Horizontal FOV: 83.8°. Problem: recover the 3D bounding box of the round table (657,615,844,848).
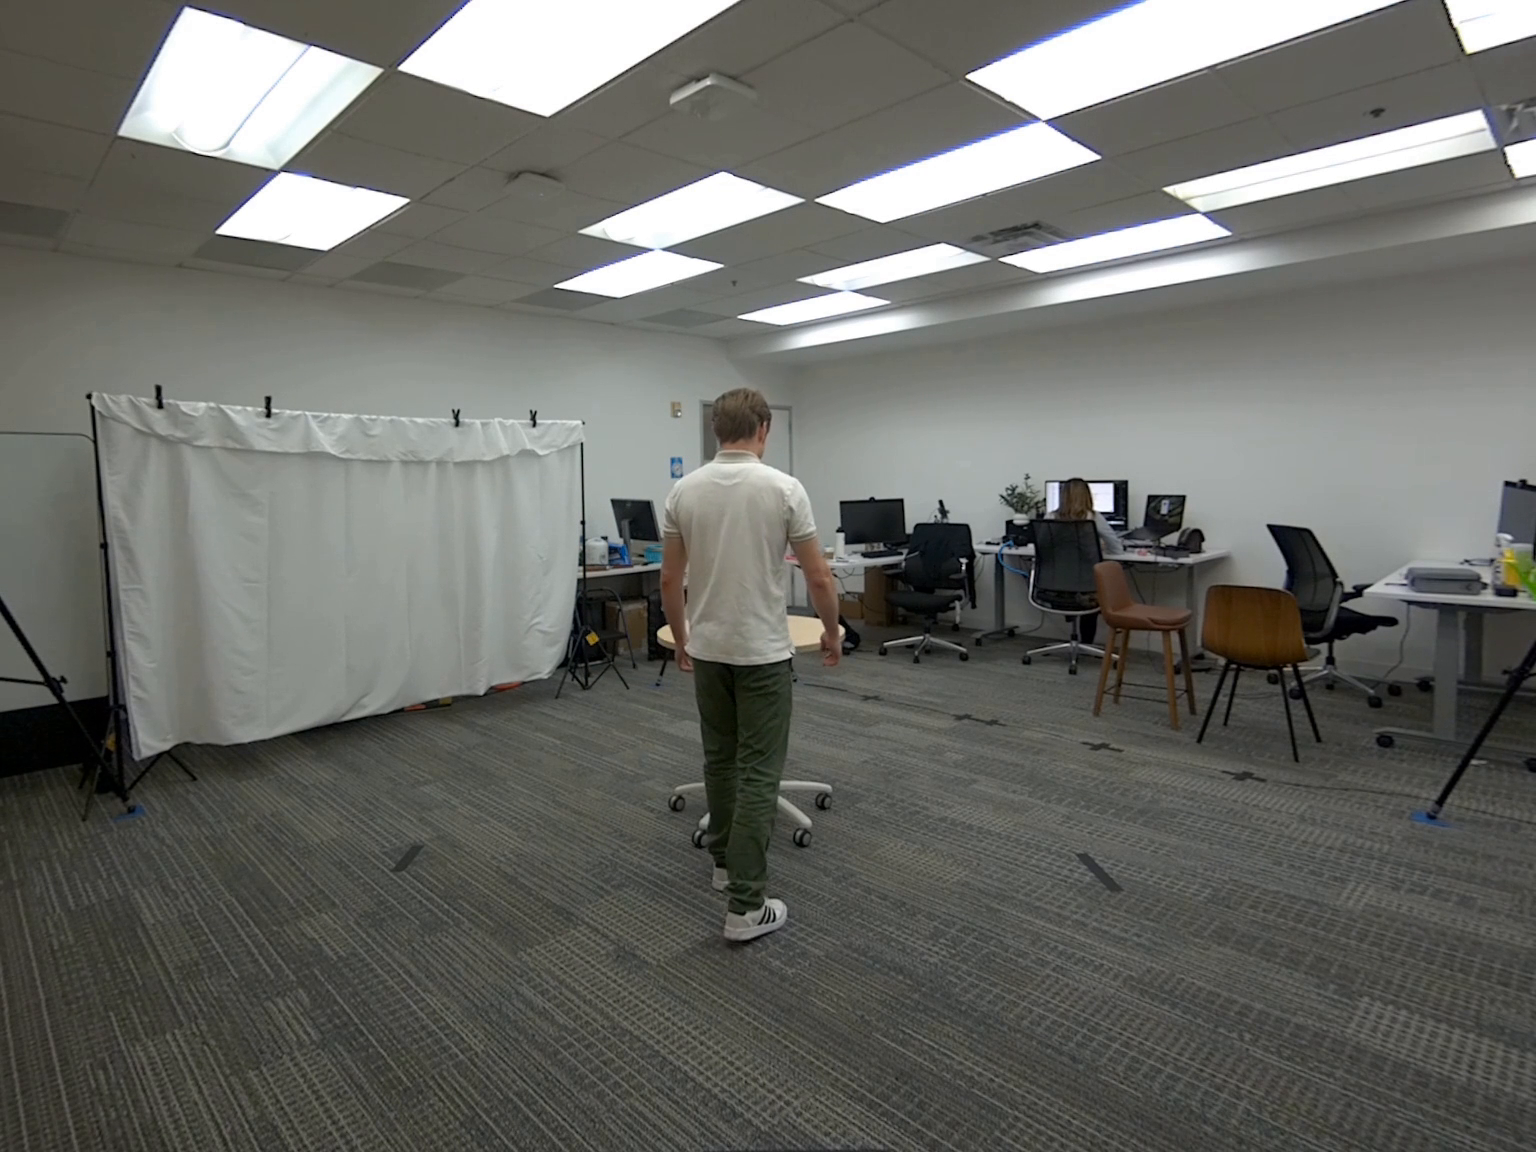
[{"bbox_3d":[-0.059,0.614,3.517,0.763,0.791,0.768,-1,5,-2],"label":"round table"}]
